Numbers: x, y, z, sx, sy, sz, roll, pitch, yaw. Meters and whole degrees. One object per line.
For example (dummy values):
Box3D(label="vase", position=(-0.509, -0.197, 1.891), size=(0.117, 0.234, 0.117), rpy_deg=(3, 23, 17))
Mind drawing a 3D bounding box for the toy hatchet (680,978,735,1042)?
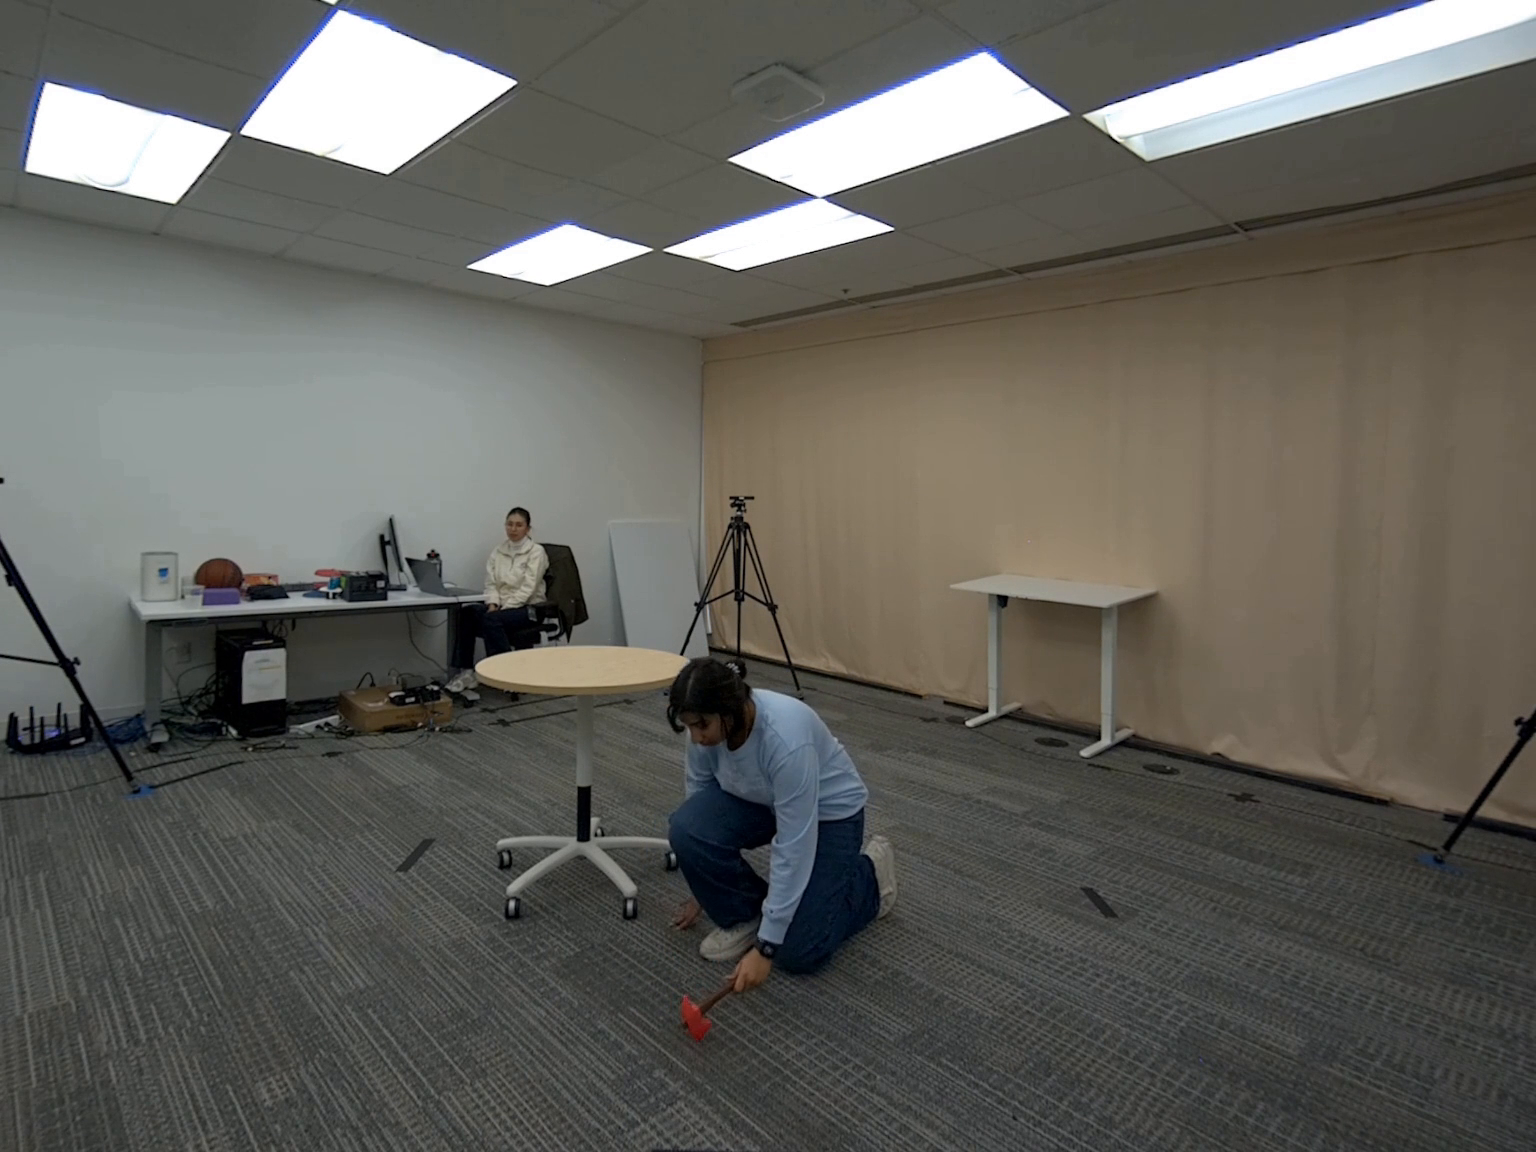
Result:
Box3D(label="toy hatchet", position=(-0.129, 1.134, 2.199), size=(0.264, 0.131, 0.030), rpy_deg=(1, -3, -39))
